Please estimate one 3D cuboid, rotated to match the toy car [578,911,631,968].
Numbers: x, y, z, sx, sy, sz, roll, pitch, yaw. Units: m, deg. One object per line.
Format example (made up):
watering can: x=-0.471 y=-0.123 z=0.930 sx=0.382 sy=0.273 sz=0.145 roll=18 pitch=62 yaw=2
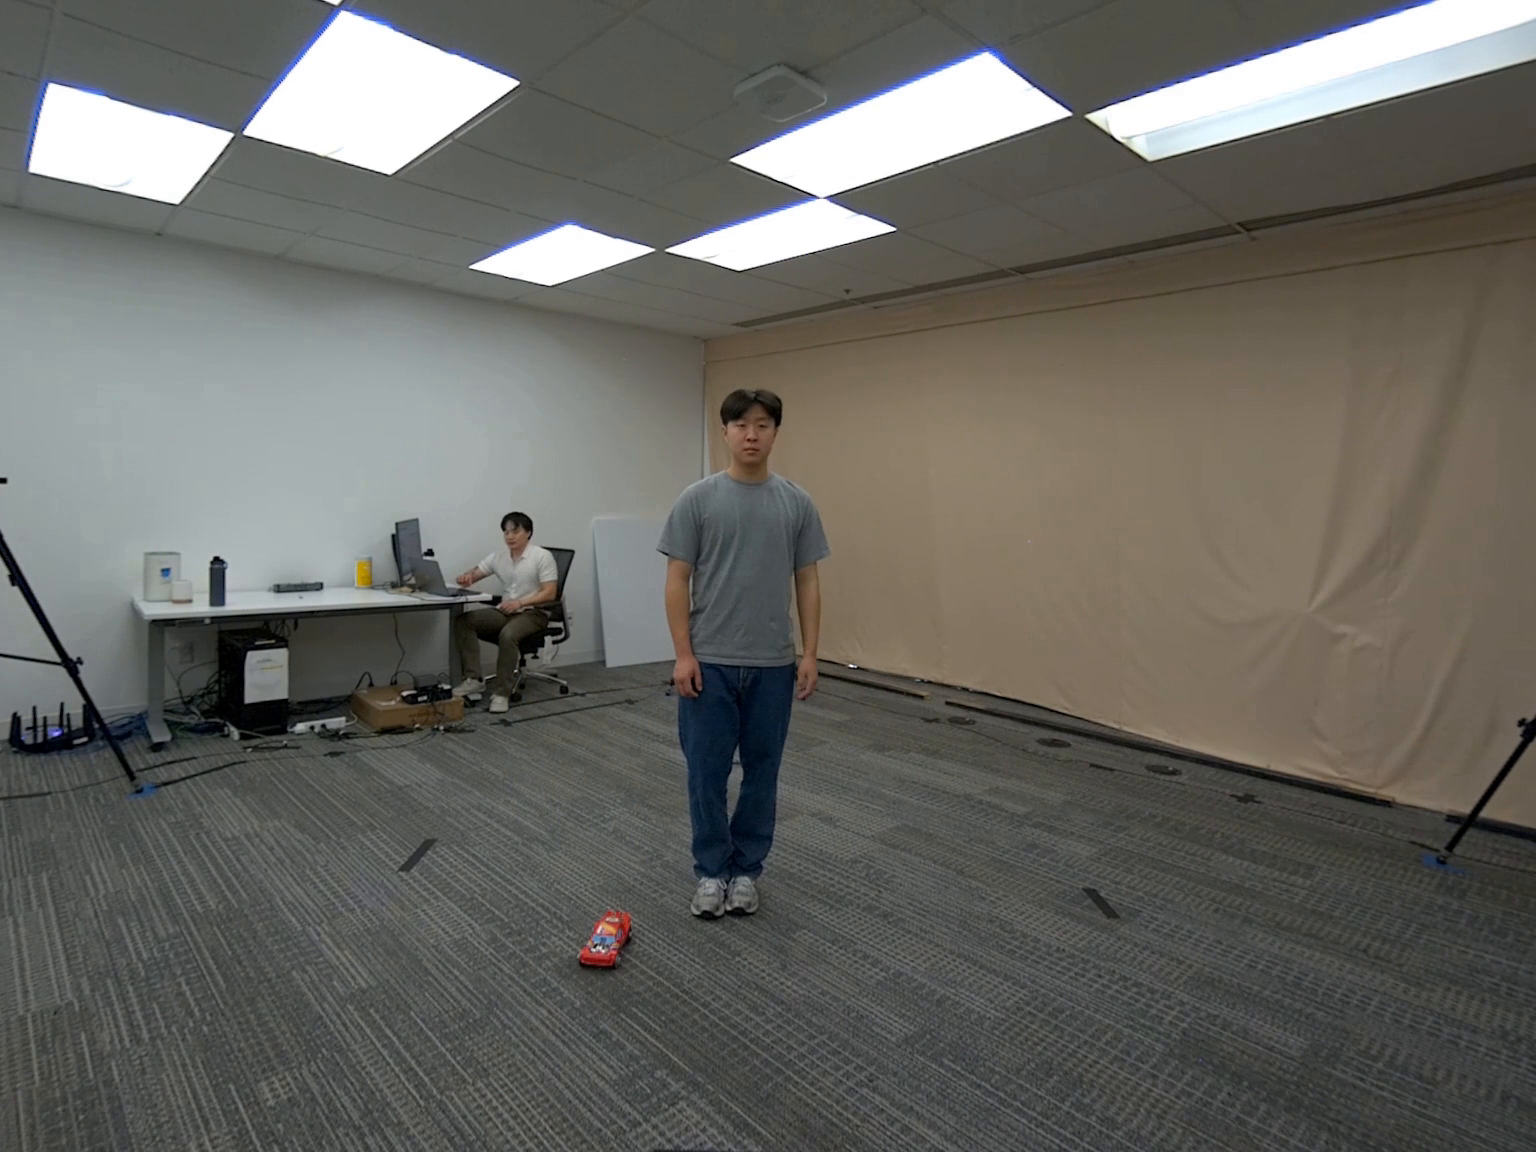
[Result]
toy car: x=-0.498 y=1.118 z=2.570 sx=0.131 sy=0.082 sz=0.256 roll=1 pitch=16 yaw=5
